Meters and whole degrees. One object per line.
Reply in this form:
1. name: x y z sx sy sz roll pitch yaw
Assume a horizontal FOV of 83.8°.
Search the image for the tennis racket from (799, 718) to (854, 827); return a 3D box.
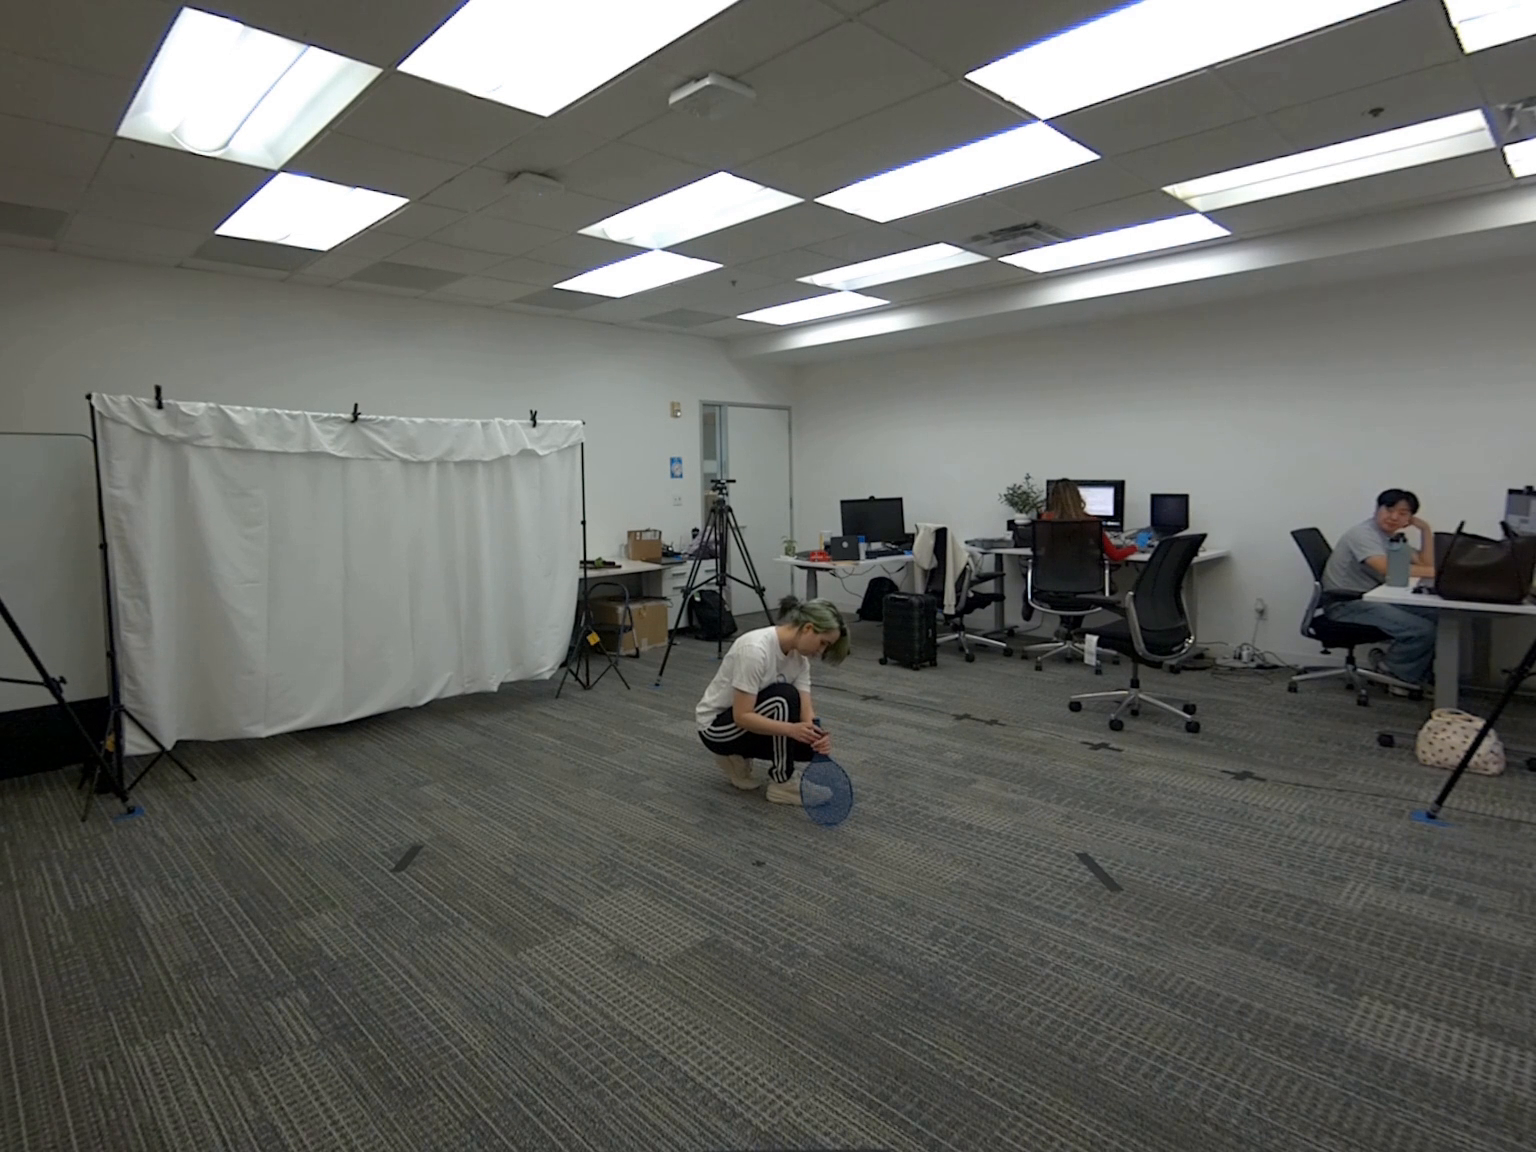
1. tennis racket: 0.220 0.799 3.463 0.216 0.434 0.031 -6 -2 15
